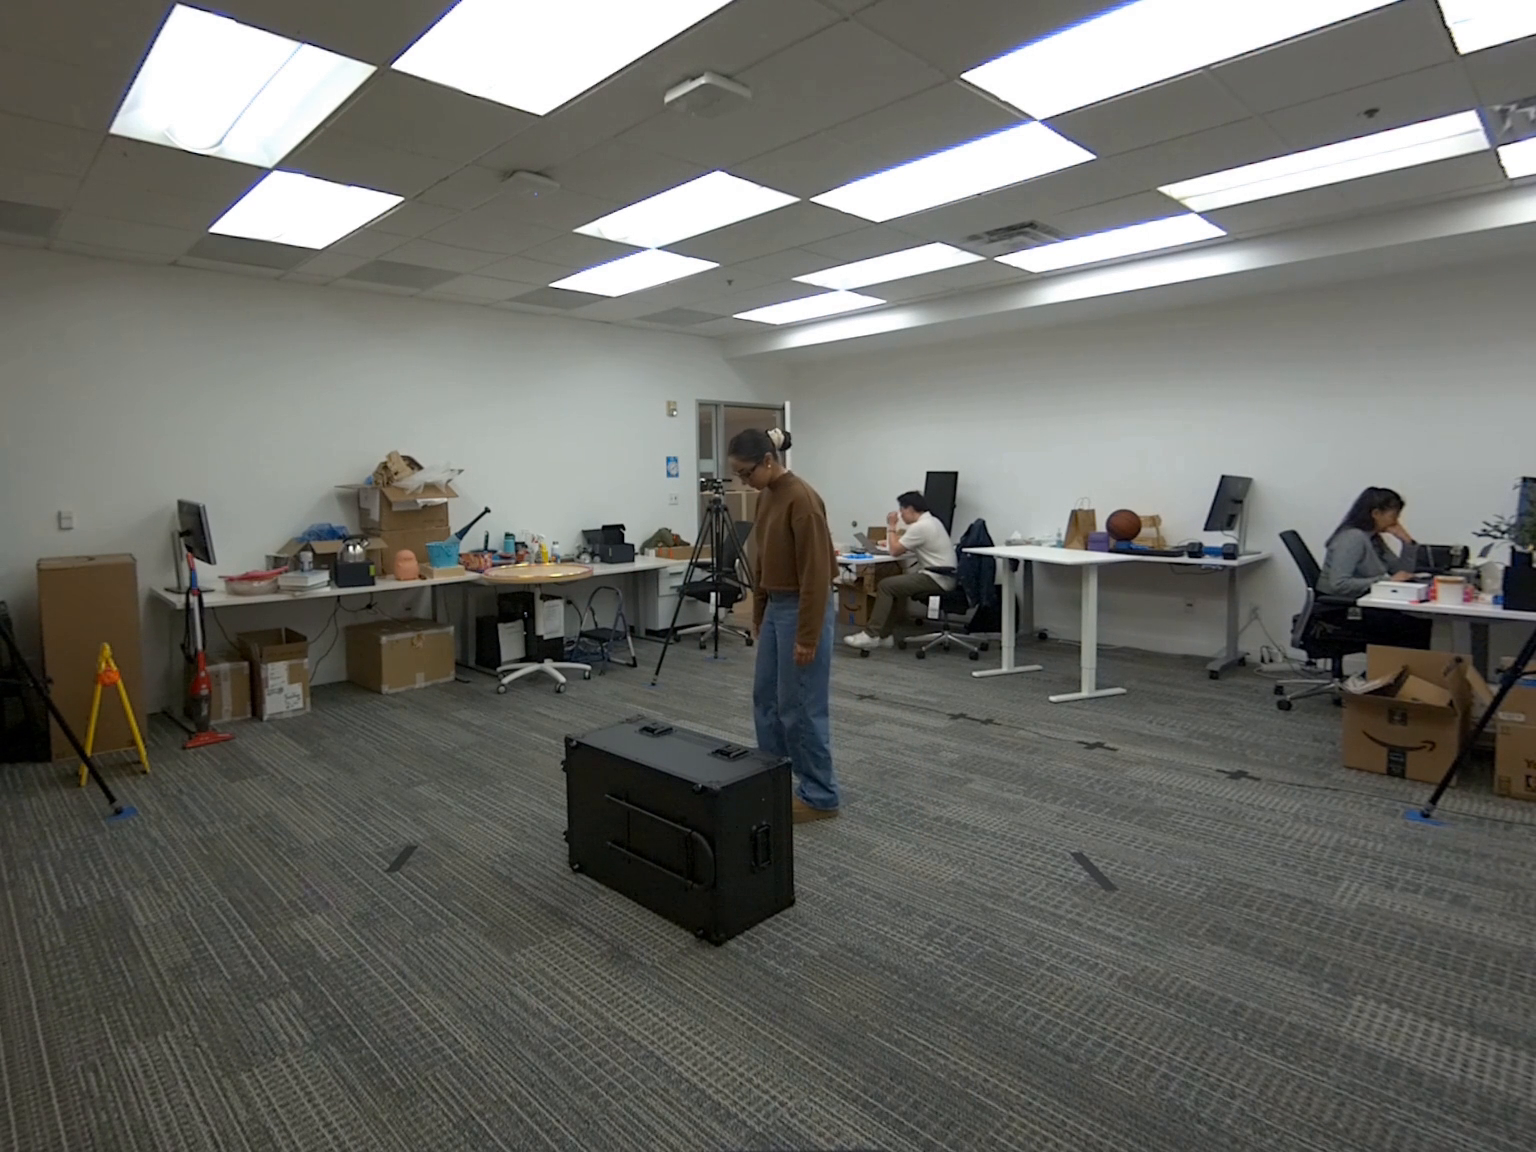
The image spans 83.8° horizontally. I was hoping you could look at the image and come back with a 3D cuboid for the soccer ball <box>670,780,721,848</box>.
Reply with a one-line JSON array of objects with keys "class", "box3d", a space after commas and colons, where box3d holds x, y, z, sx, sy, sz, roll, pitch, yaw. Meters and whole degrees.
[{"class": "soccer ball", "box3d": [-0.282, 0.921, 3.332, 0.187, 0.187, 0.188, -1, 5, -2]}]
